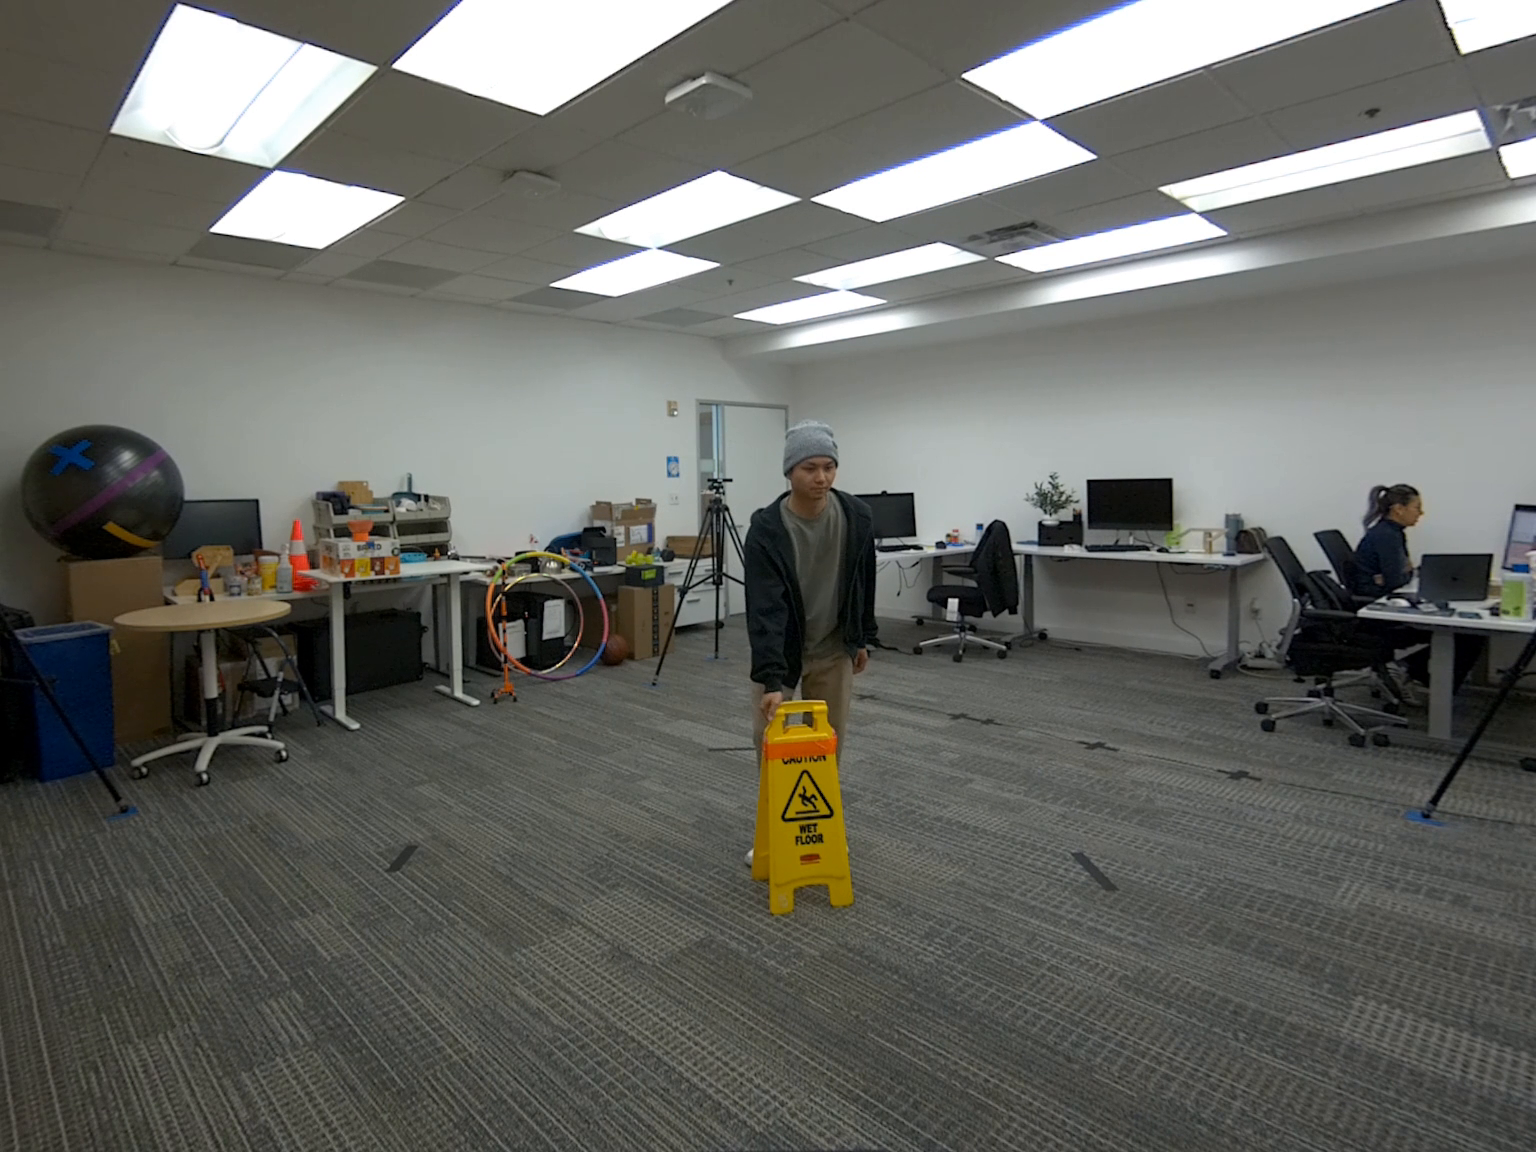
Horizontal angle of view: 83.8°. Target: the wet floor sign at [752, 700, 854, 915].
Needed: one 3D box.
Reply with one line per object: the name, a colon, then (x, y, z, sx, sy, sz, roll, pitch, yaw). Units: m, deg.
wet floor sign: (0.105, 0.744, 2.866, 0.279, 0.643, 0.295, -3, 6, -13)
